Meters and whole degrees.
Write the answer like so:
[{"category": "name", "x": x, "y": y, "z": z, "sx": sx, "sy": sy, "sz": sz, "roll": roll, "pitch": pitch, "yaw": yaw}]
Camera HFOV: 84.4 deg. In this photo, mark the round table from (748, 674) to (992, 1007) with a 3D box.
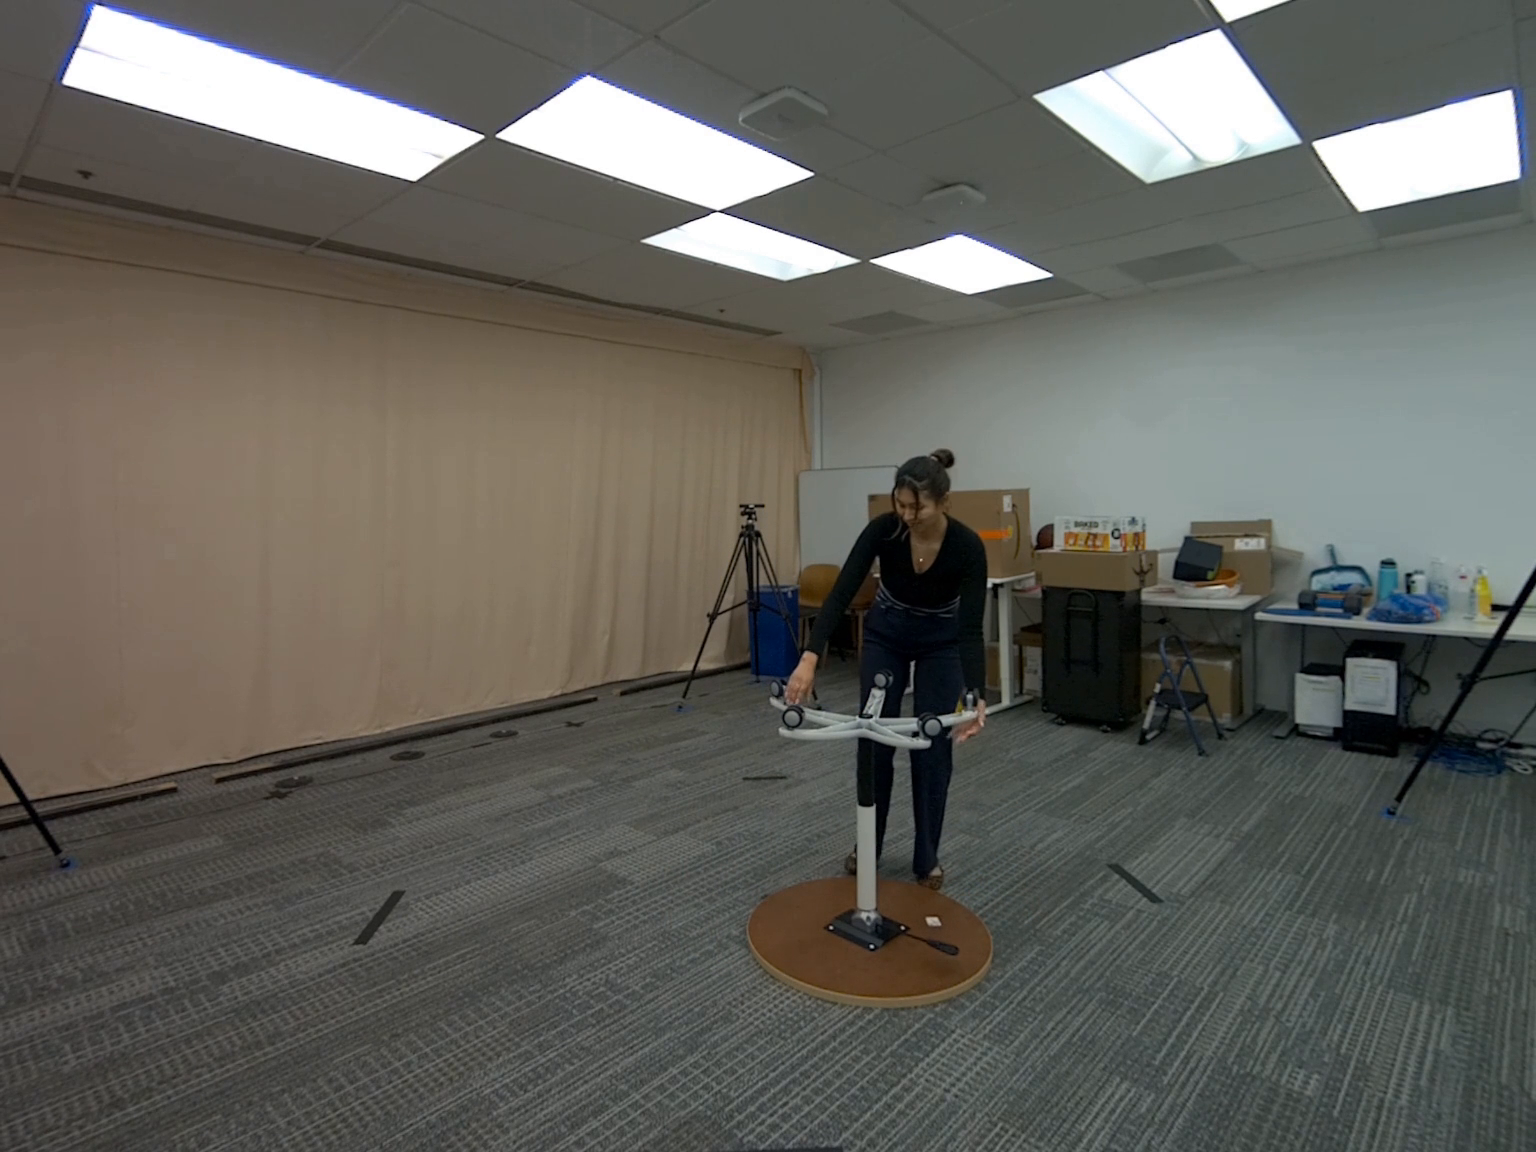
[{"category": "round table", "x": 0.314, "y": 0.767, "z": 2.676, "sx": 0.763, "sy": 0.792, "sz": 0.766, "roll": 0, "pitch": 3, "yaw": -2}]
